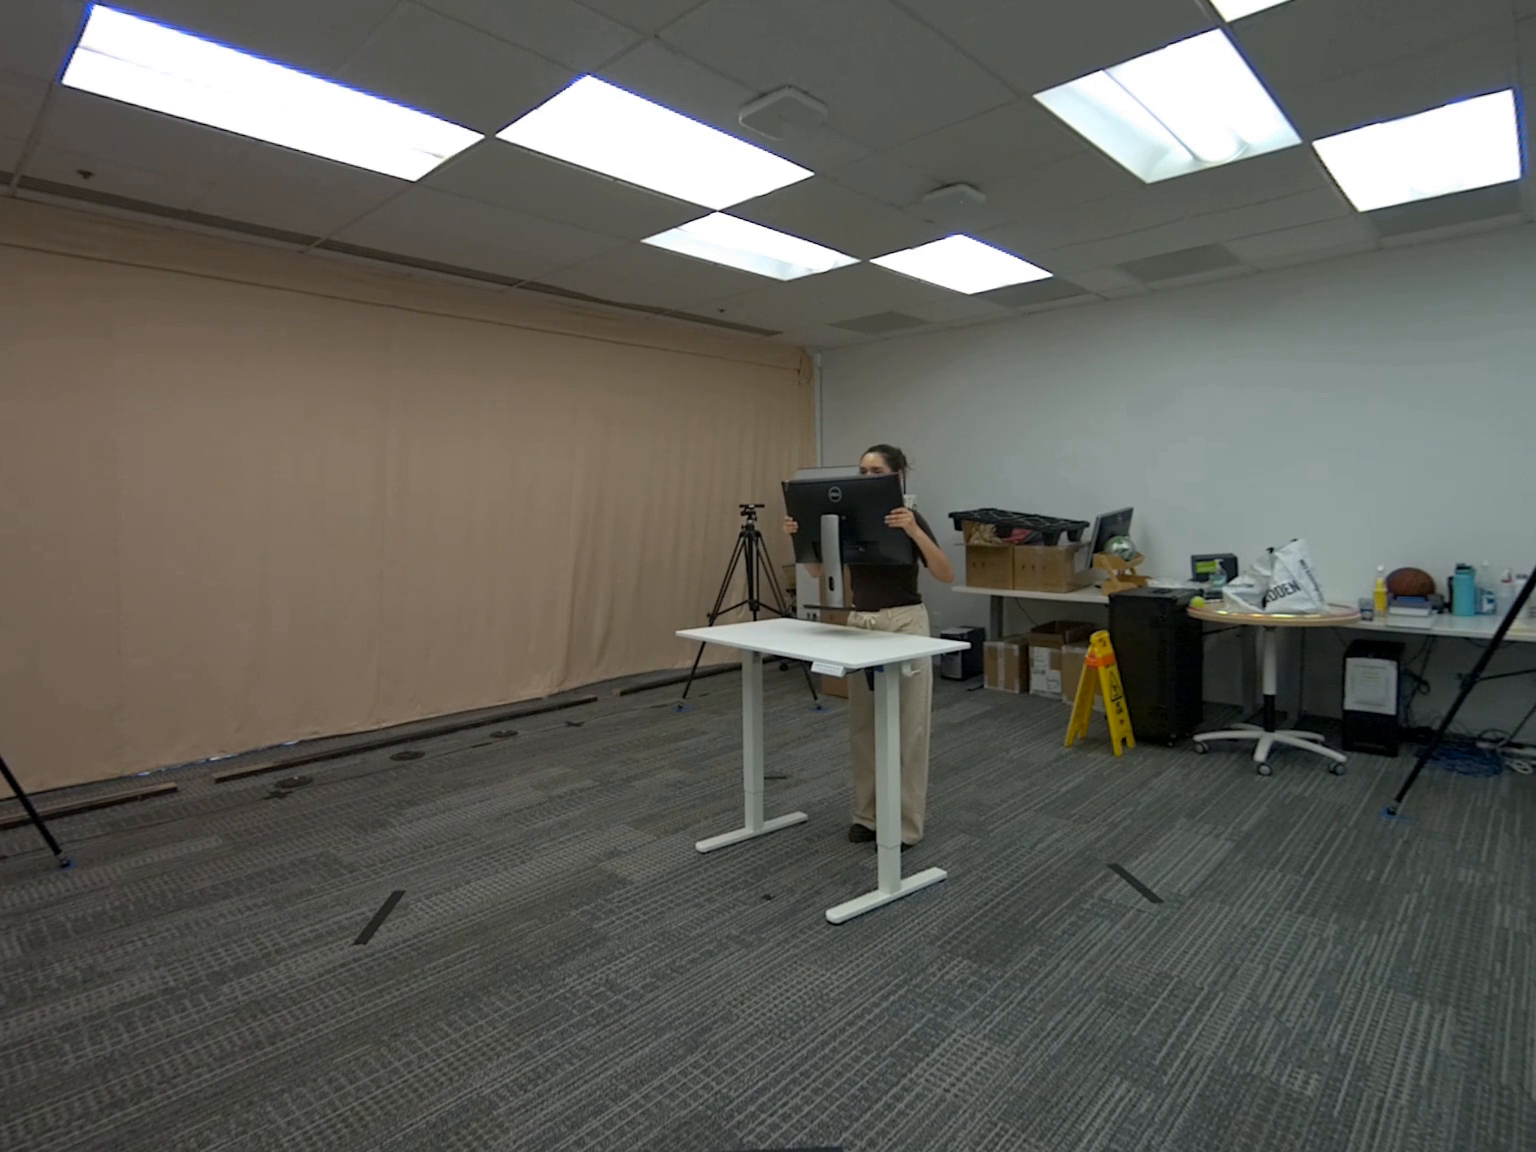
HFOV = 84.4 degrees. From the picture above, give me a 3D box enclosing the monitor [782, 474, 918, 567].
[{"bbox_3d":[0.288,-0.121,3.276,0.556,0.522,0.181,0,2,38],"label":"monitor"}]
